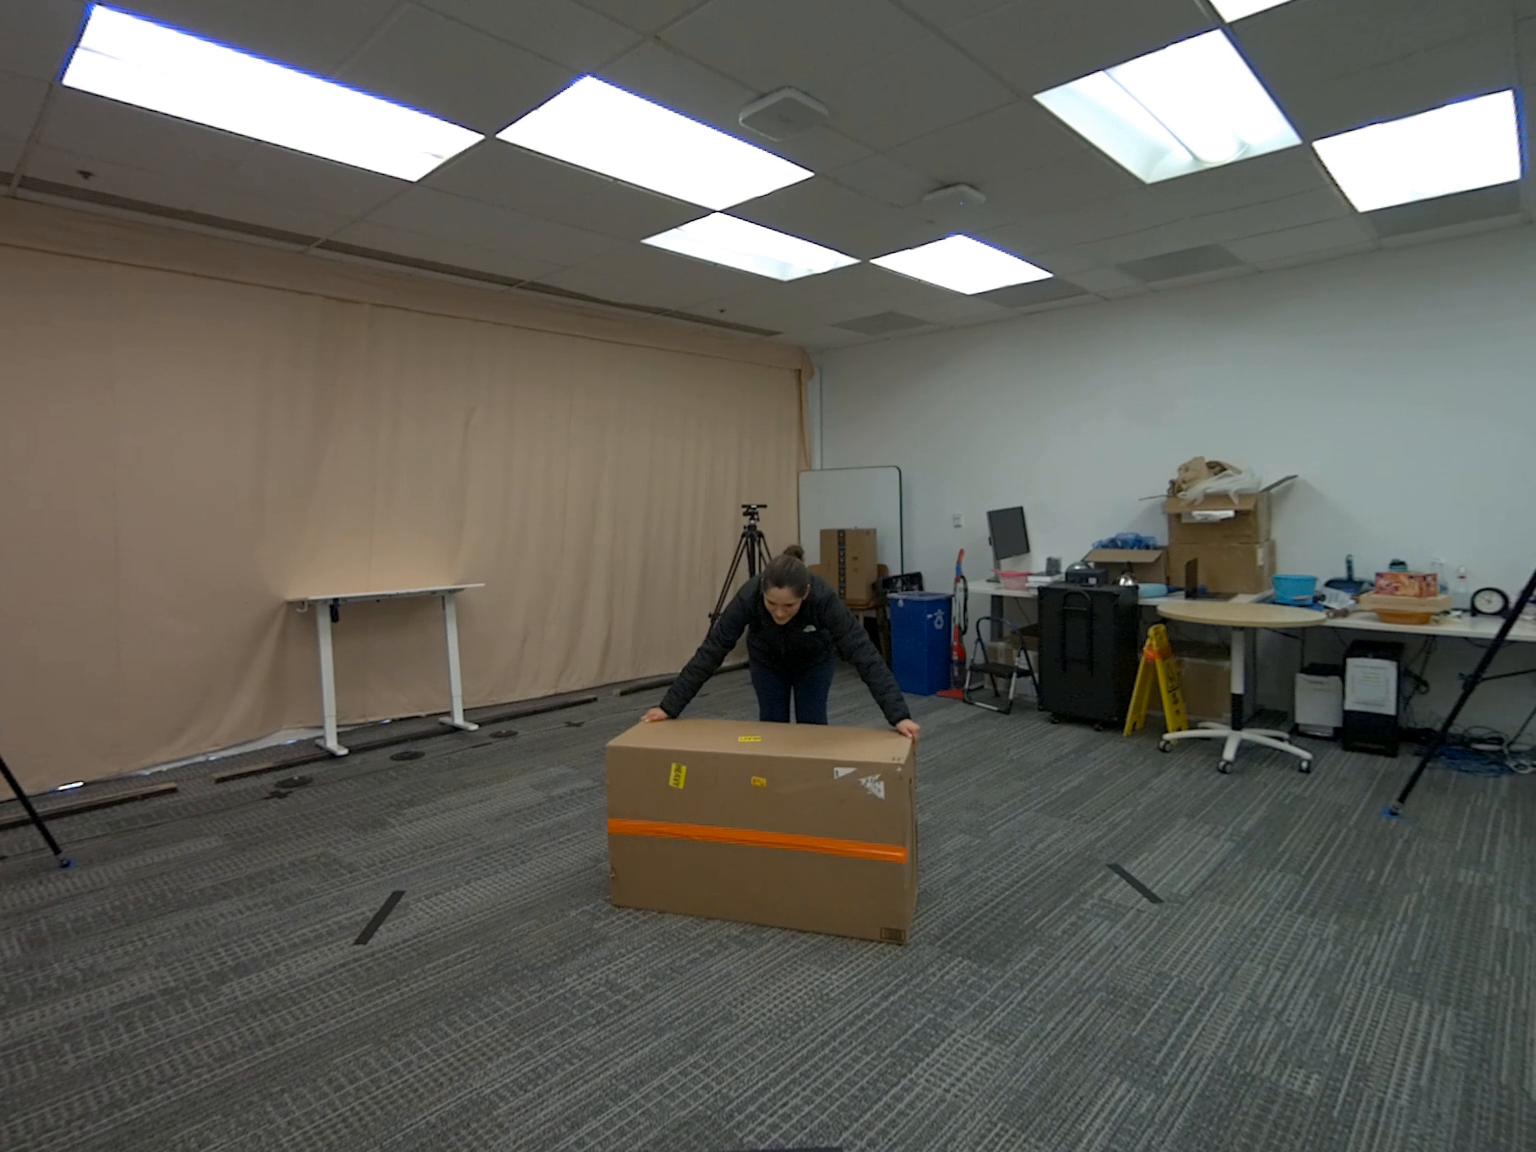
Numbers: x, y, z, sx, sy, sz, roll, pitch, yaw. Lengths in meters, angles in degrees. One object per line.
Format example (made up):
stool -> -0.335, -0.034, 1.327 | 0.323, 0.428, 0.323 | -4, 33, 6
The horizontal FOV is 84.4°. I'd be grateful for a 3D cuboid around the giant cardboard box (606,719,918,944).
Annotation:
giant cardboard box -> -0.001, 0.850, 2.980 | 1.045, 0.583, 0.440 | 0, 3, 16
